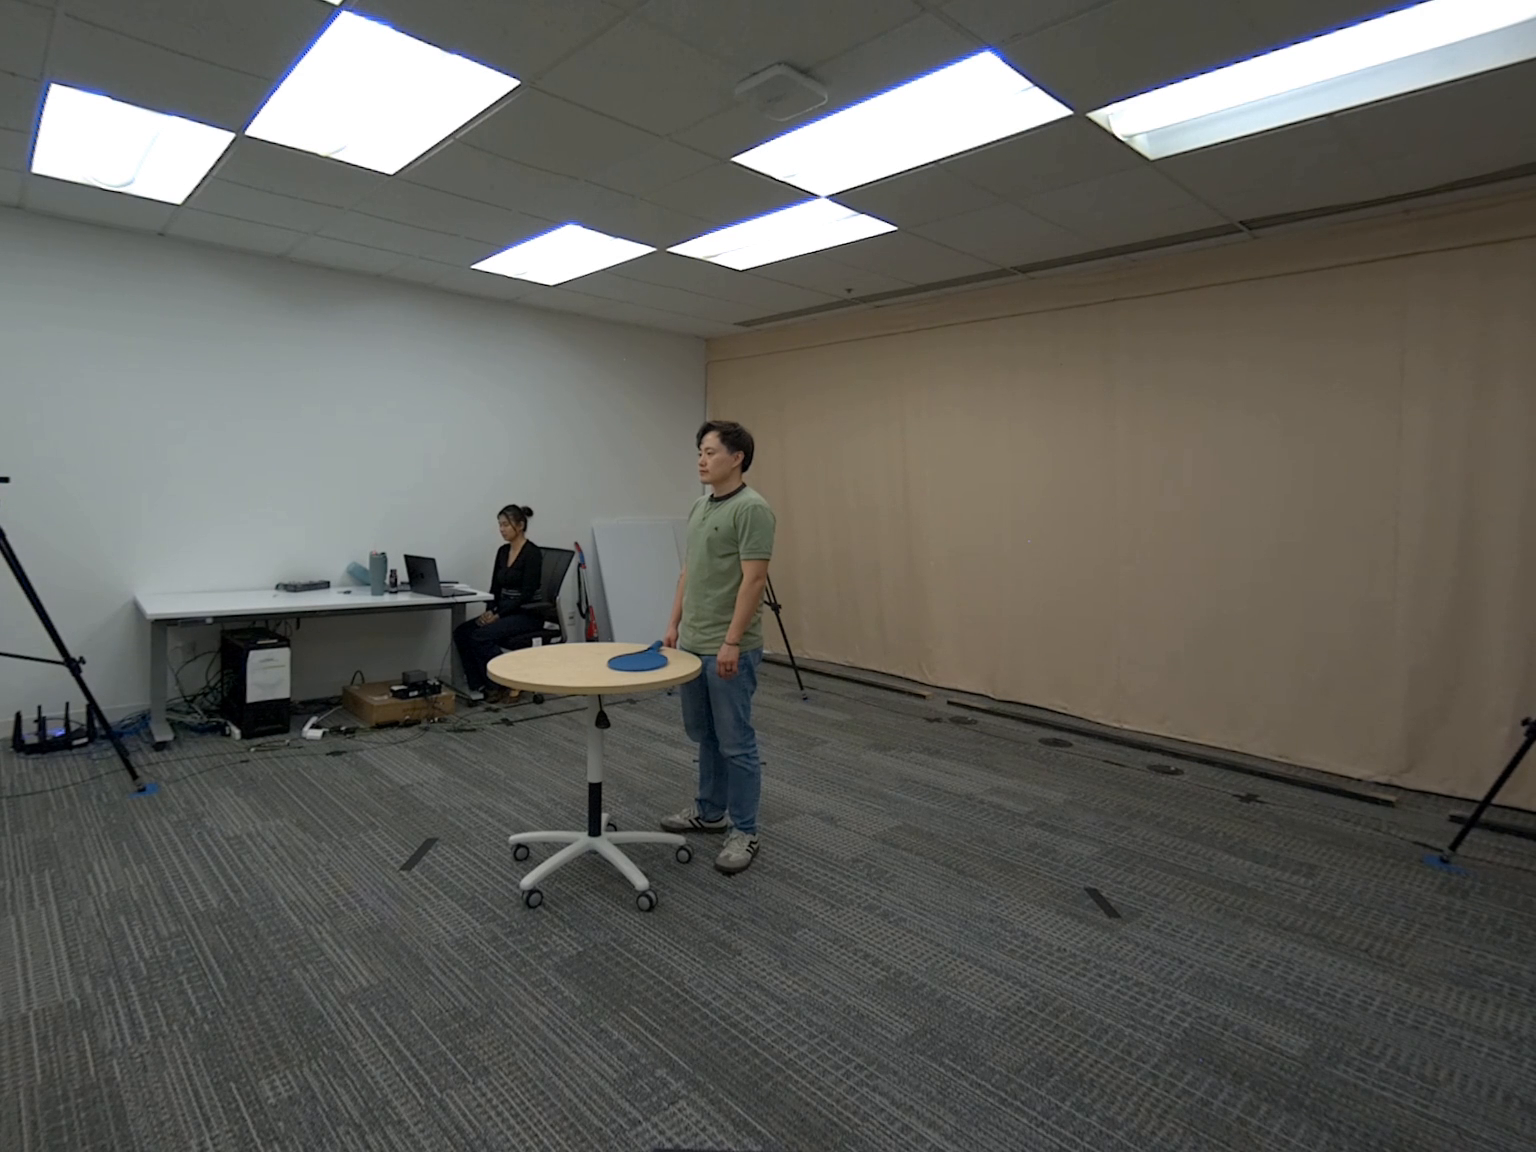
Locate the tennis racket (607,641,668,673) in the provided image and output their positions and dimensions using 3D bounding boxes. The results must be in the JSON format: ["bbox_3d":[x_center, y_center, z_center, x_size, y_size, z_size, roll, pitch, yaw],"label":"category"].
[{"bbox_3d":[-0.457,0.299,3.116,0.216,0.031,0.431,2,8,10],"label":"tennis racket"}]
